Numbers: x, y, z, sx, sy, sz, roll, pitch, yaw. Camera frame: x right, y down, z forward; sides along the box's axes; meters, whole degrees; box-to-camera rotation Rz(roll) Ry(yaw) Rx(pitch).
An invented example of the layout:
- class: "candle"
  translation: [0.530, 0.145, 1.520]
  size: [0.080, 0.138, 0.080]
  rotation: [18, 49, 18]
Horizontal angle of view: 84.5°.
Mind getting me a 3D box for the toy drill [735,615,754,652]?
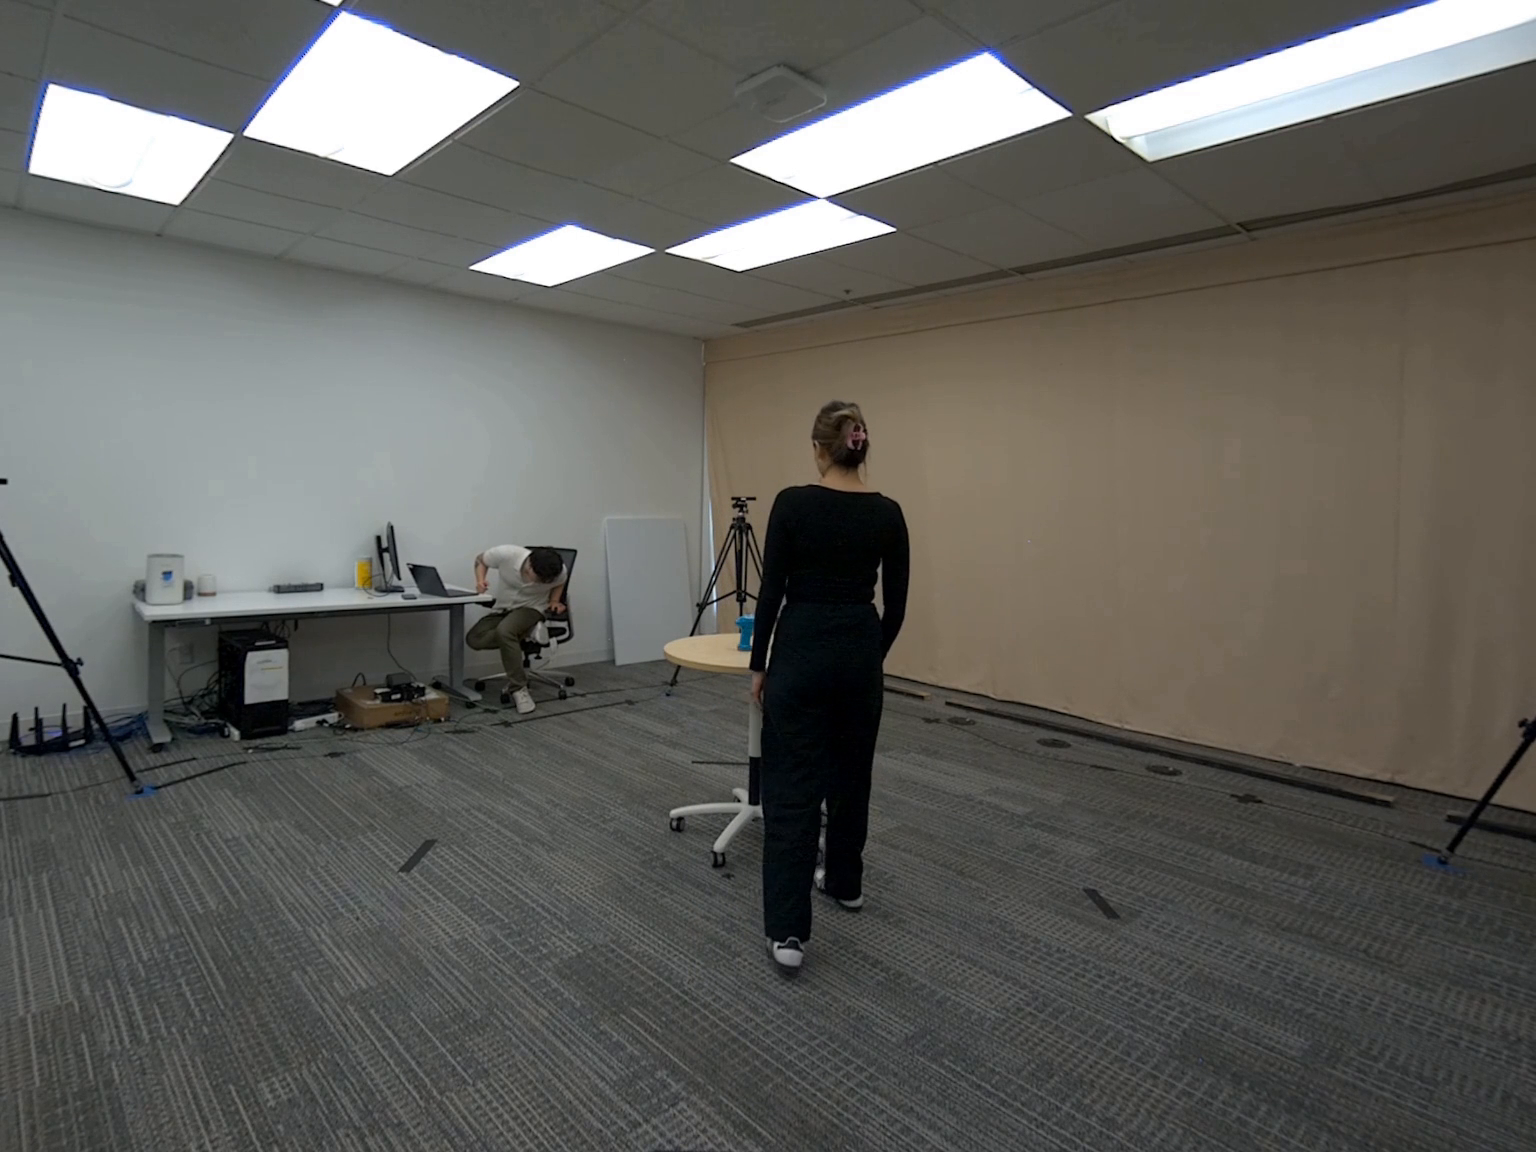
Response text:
- class: "toy drill"
  translation: [-0.056, 0.228, 3.405]
  size: [0.167, 0.146, 0.062]
  rotation: [0, 3, -20]
